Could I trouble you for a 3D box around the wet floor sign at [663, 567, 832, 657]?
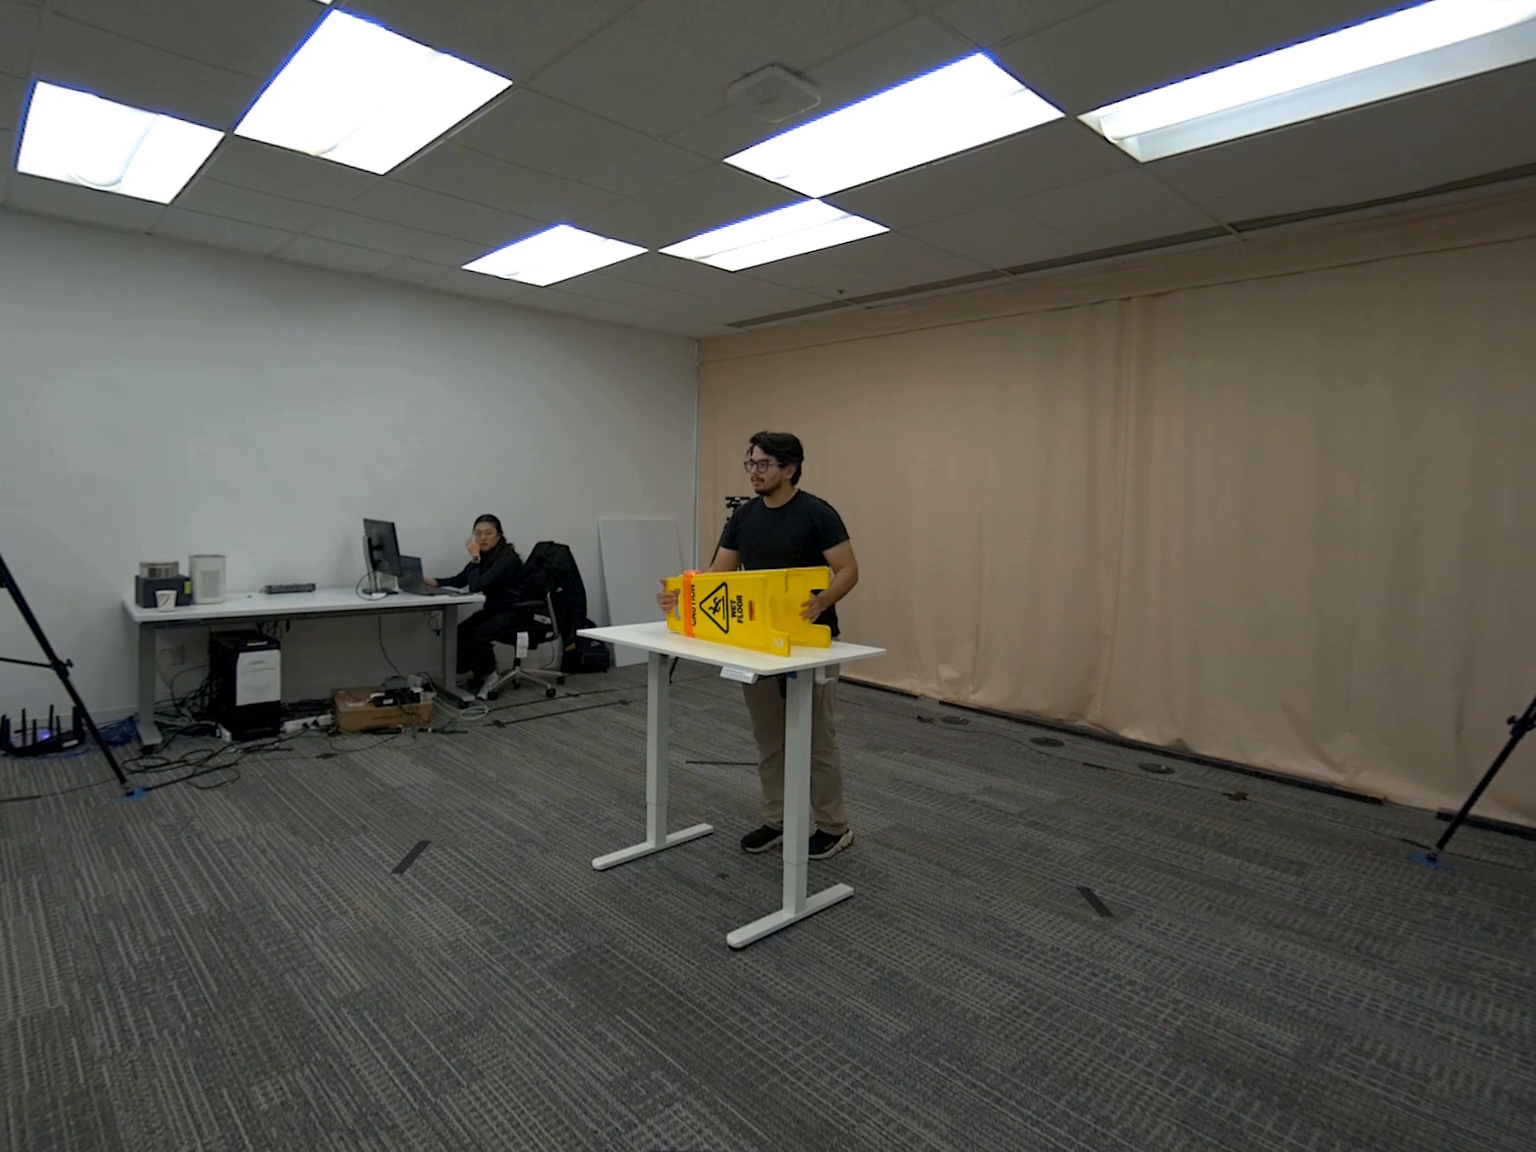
[{"bbox_3d":[-0.128,0.112,2.979,0.661,0.282,0.283,1,3,37],"label":"wet floor sign"}]
